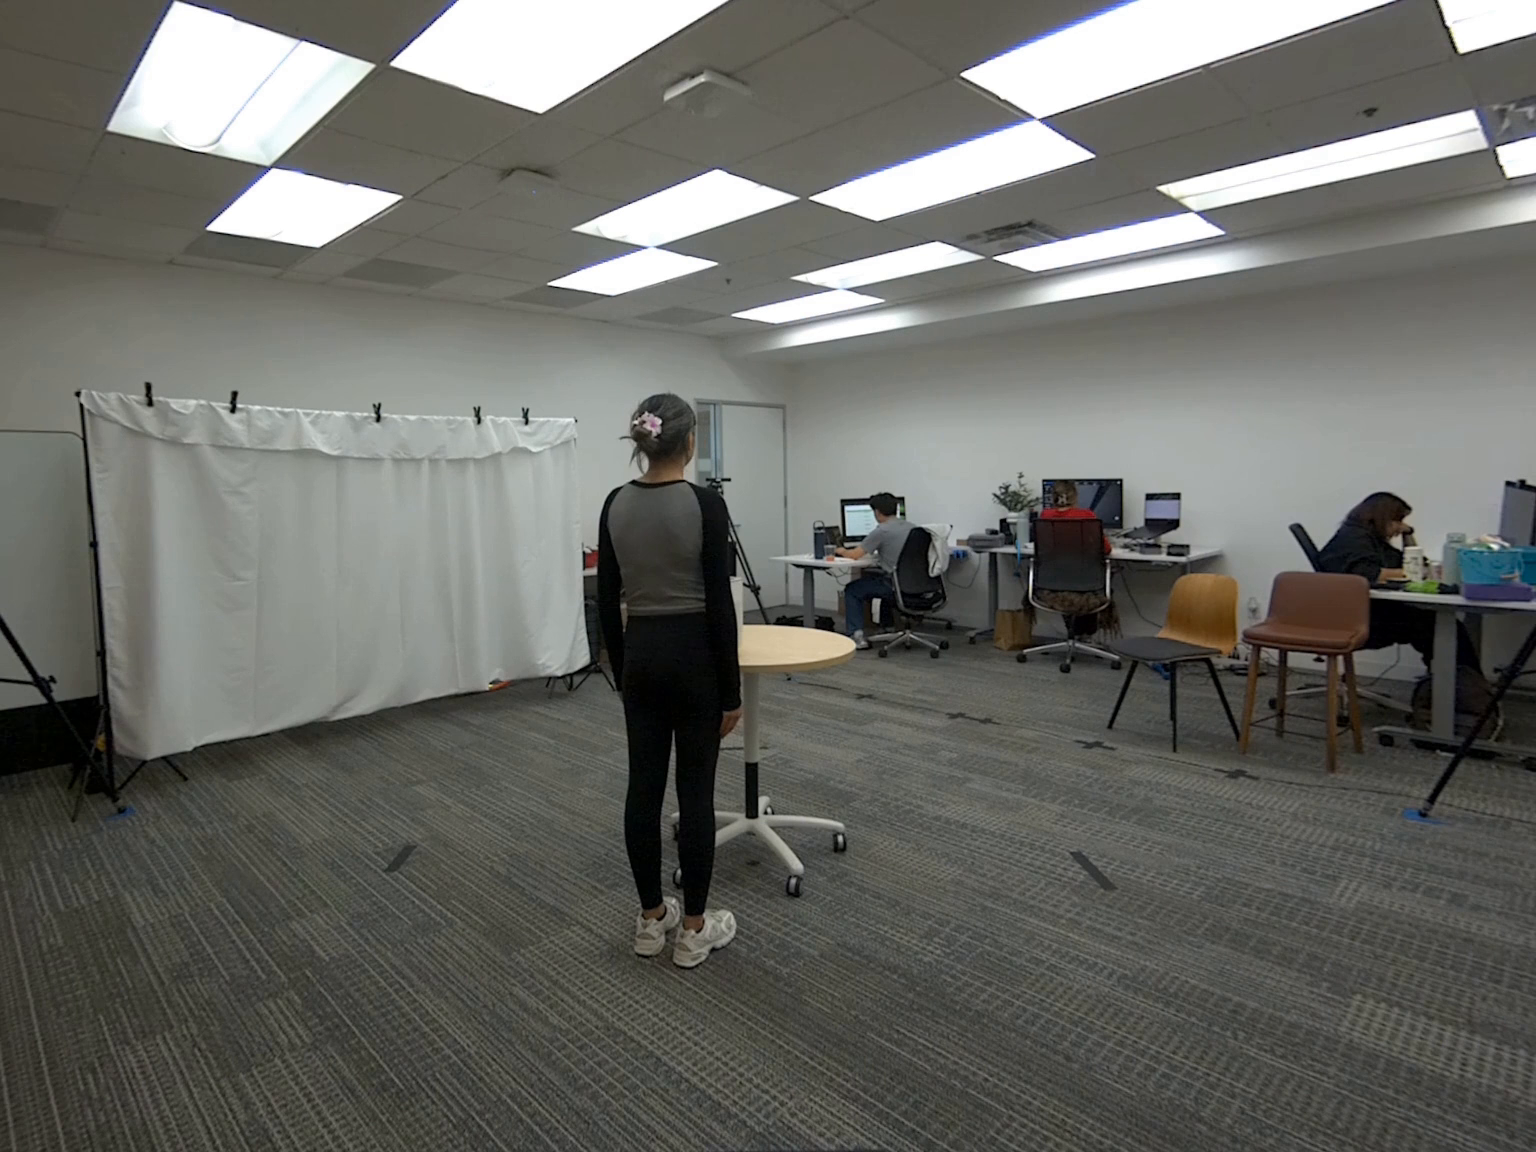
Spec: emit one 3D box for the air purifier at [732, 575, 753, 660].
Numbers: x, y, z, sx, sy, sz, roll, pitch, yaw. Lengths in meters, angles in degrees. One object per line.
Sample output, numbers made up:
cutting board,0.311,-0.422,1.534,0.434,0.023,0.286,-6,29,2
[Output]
air purifier,-0.168,0.135,2.872,0.176,0.264,0.167,2,5,27
